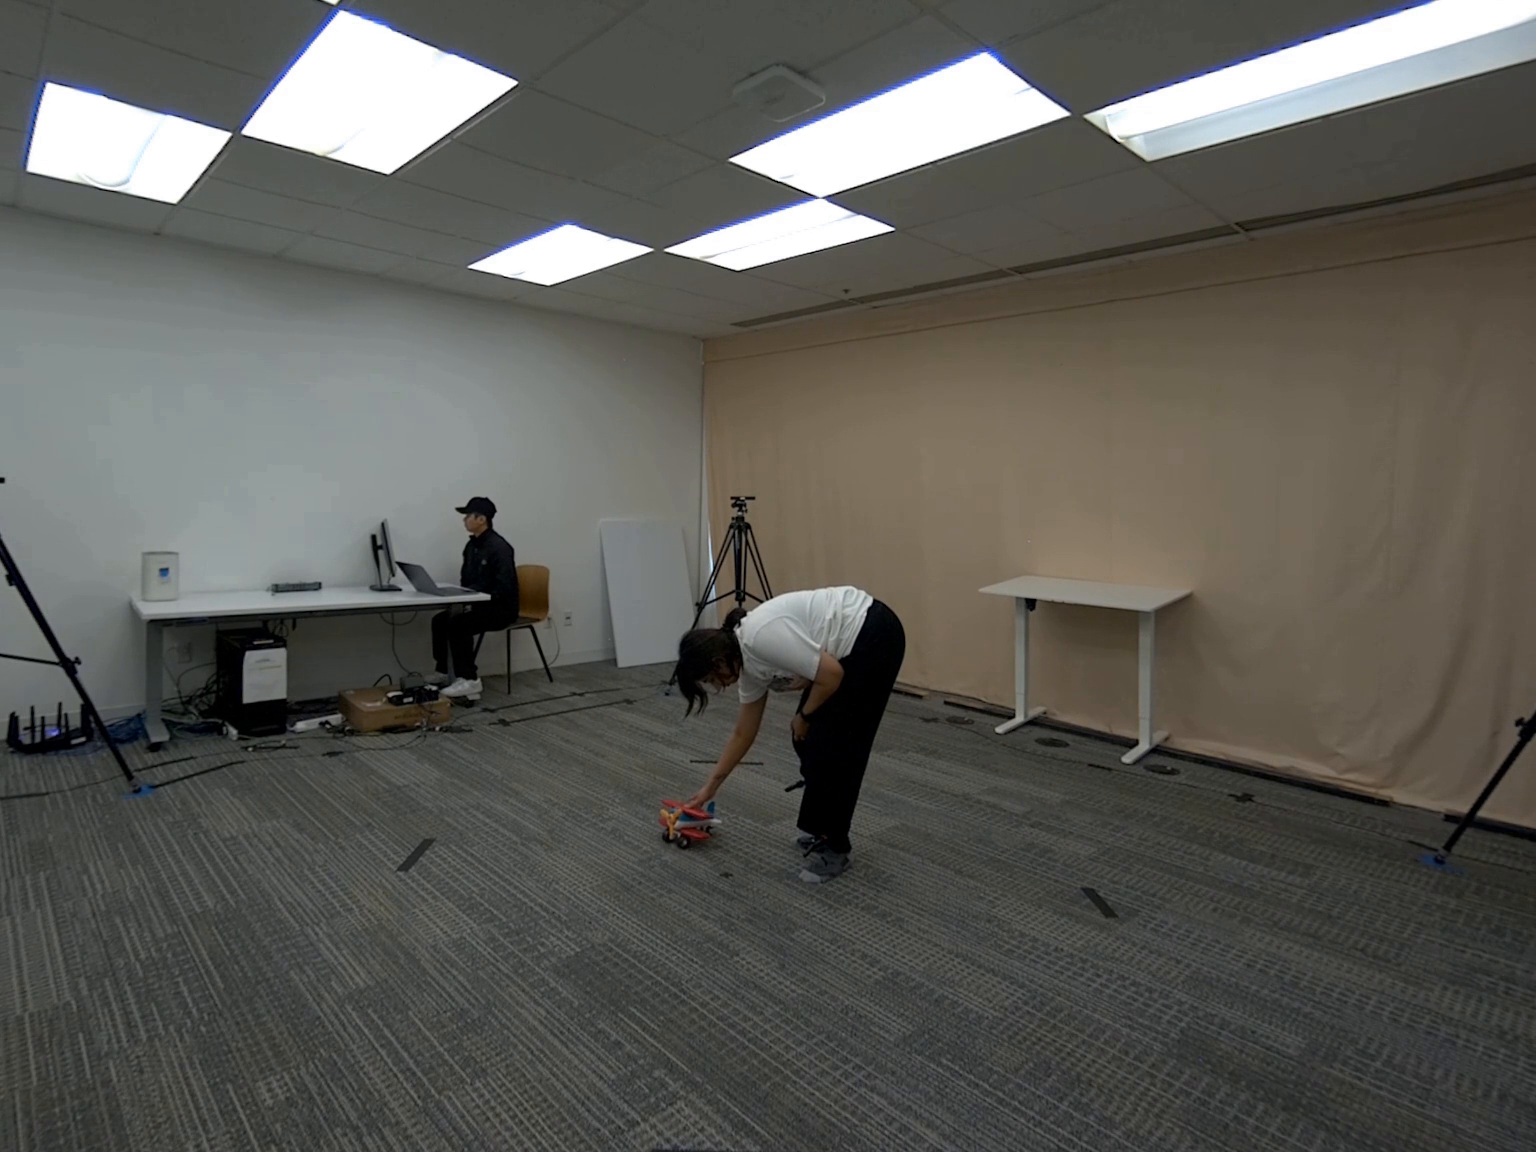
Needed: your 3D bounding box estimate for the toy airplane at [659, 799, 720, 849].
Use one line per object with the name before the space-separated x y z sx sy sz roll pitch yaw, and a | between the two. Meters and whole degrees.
toy airplane | -0.336 0.994 3.431 0.254 0.156 0.257 3 6 12
